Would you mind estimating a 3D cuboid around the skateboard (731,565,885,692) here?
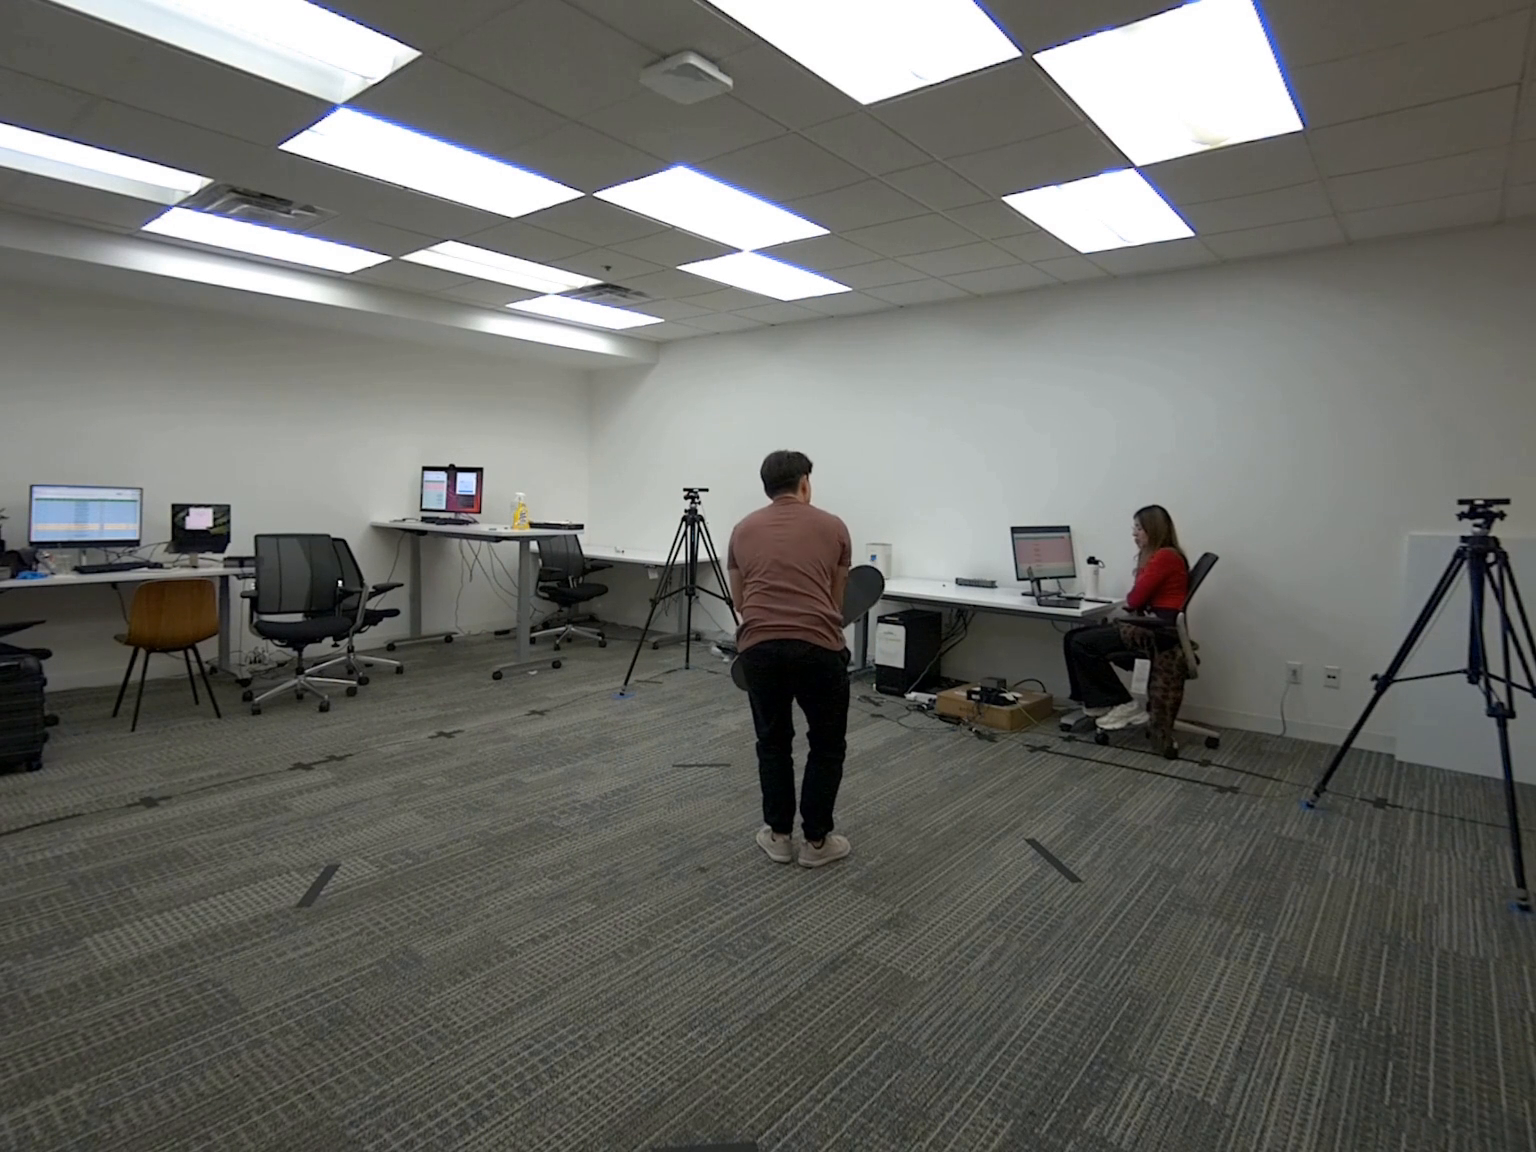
[{"bbox_3d":[0.163,0.234,3.607,0.783,0.199,0.107,-37,-23,-11],"label":"skateboard"}]
